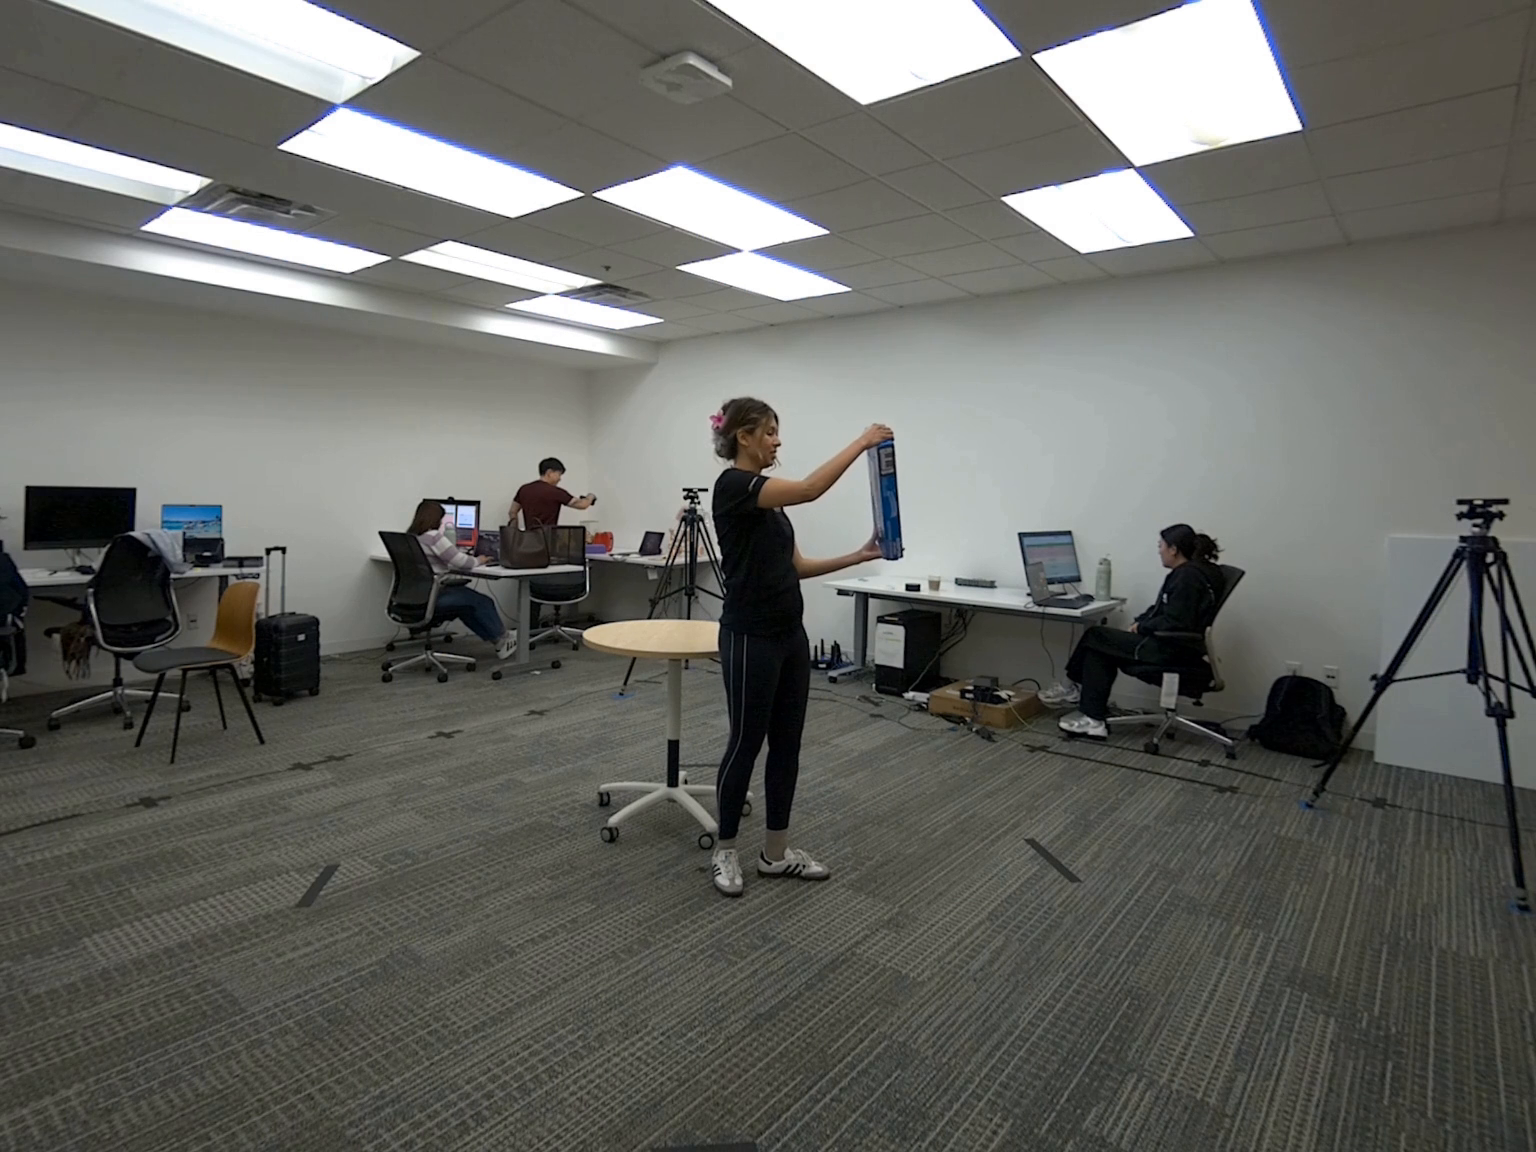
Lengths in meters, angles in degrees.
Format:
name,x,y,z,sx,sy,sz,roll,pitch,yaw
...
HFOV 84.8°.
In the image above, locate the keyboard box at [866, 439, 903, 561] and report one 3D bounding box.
name,x,y,z,sx,sy,sz,roll,pitch,yaw
keyboard box,0.391,-0.283,2.923,0.059,0.425,0.181,-11,28,-3
